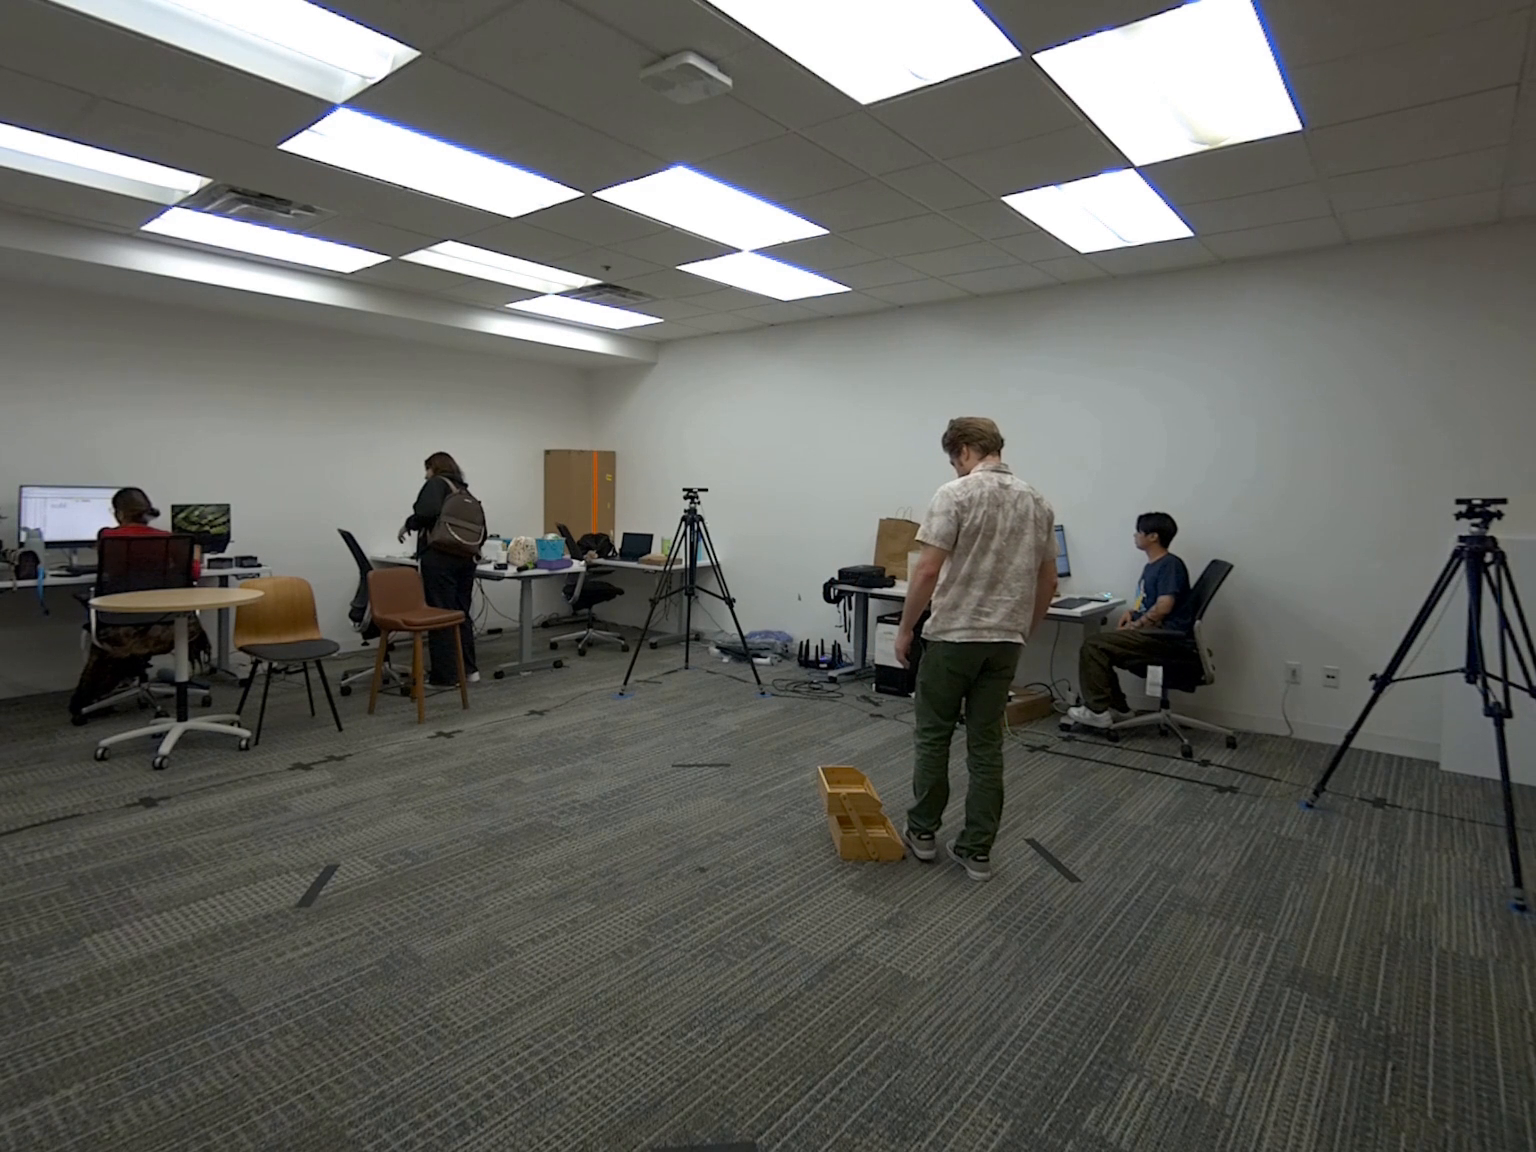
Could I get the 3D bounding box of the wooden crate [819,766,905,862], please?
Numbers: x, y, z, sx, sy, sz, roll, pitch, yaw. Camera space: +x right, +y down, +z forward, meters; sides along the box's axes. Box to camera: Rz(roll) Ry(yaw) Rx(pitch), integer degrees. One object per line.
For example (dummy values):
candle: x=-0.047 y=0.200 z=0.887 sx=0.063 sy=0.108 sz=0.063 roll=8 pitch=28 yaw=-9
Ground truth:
wooden crate: x=0.365 y=0.927 z=3.370 sx=0.301 sy=0.272 sz=0.327 roll=2 pitch=5 yaw=-4
